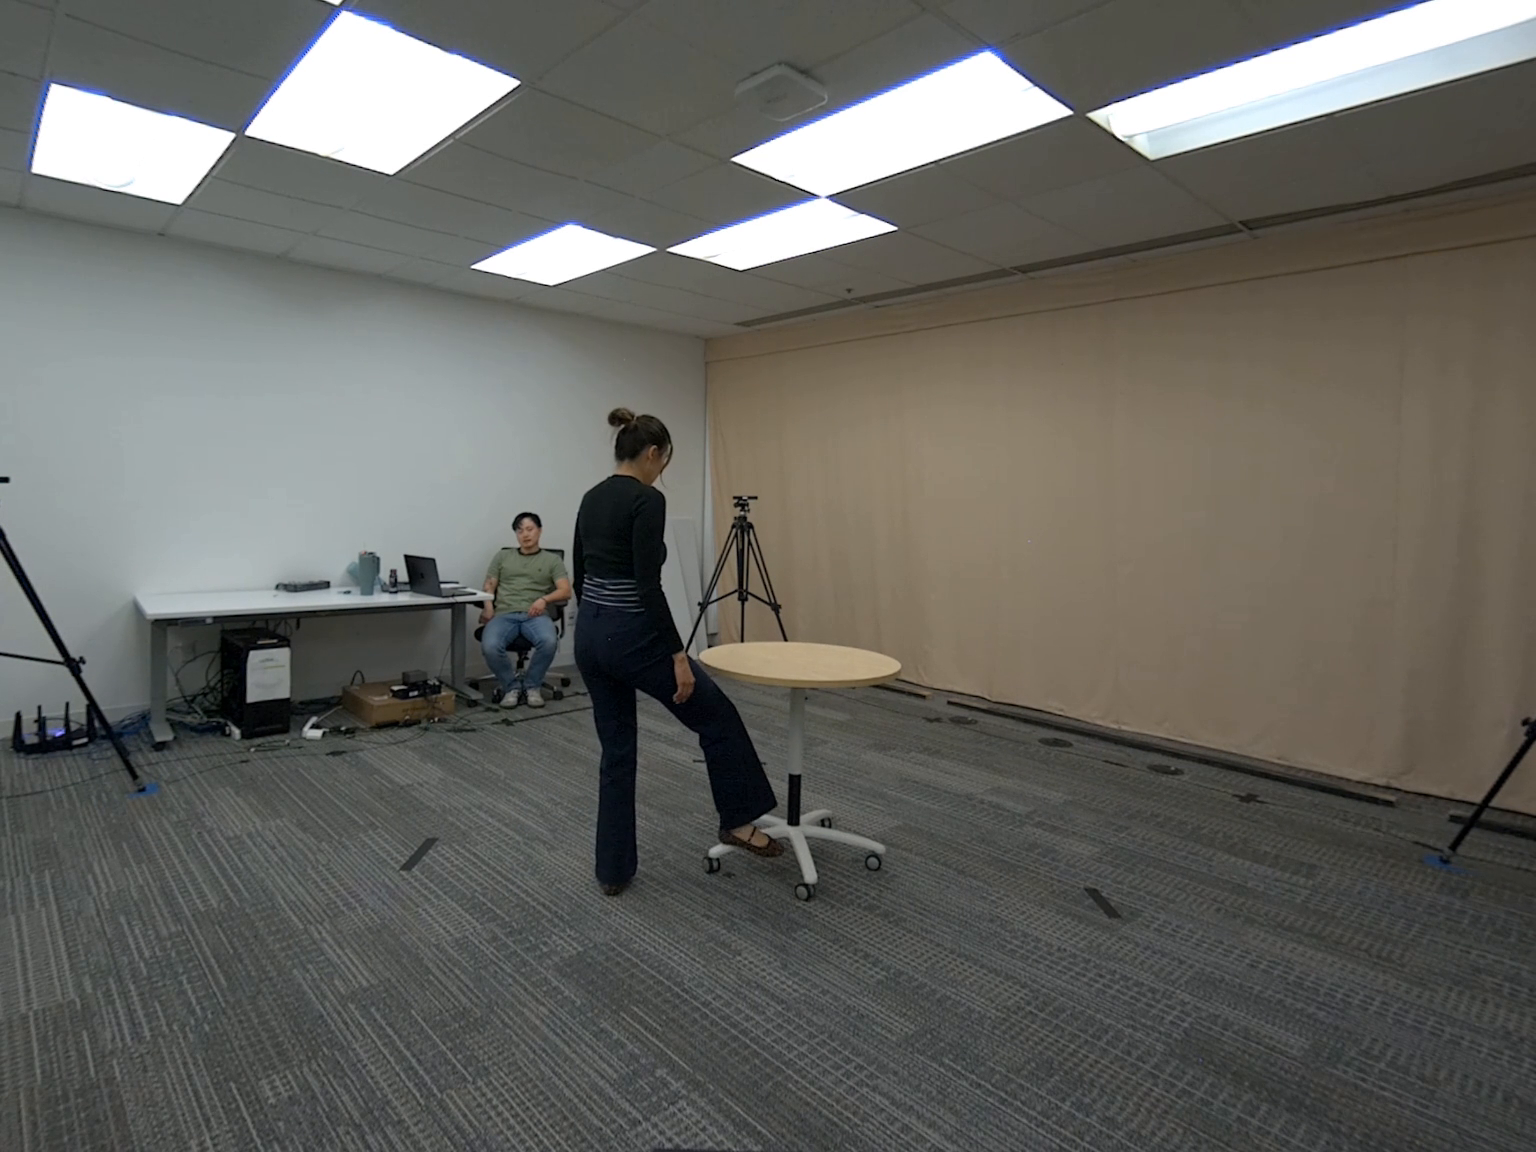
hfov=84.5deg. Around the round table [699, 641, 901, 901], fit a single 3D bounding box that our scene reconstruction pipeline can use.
[{"bbox_3d":[0.093,0.709,3.235,0.763,0.792,0.766,2,4,-1],"label":"round table"}]
